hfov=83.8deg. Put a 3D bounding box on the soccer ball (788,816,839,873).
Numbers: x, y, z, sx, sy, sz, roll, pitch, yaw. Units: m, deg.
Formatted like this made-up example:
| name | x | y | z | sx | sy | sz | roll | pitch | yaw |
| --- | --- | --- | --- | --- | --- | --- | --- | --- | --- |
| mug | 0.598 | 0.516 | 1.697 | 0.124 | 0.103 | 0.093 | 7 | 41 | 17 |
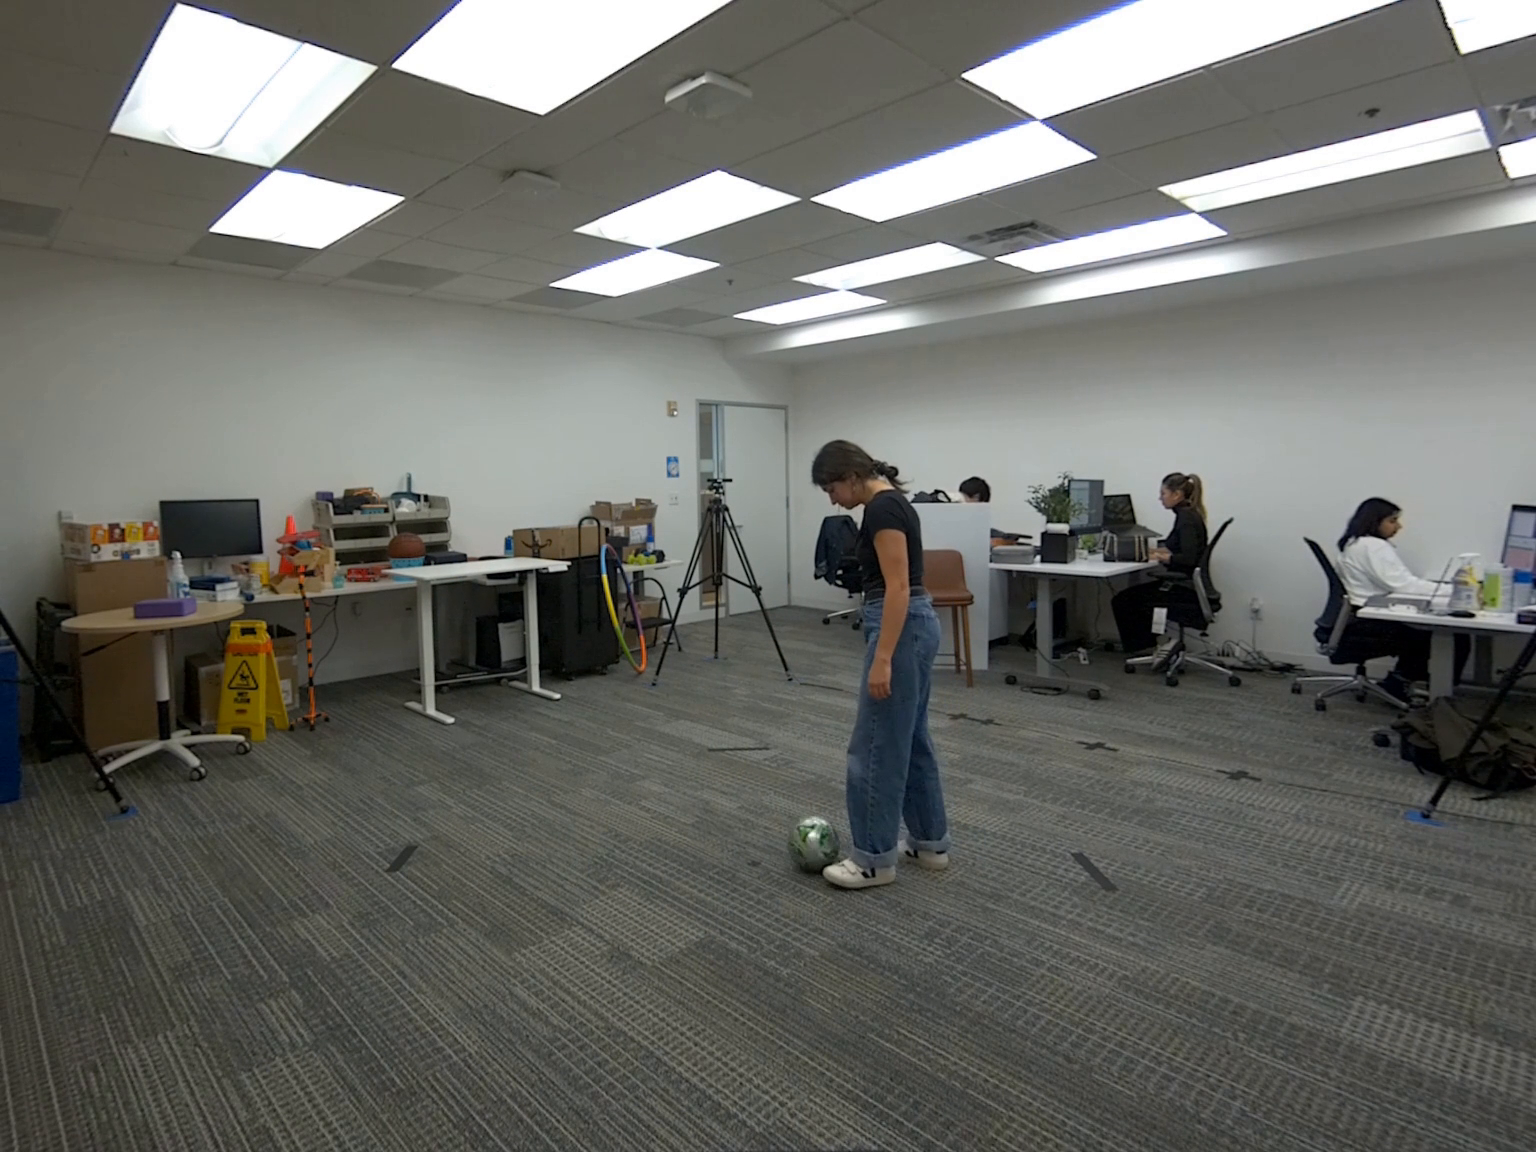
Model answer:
| name | x | y | z | sx | sy | sz | roll | pitch | yaw |
| --- | --- | --- | --- | --- | --- | --- | --- | --- | --- |
| soccer ball | 0.167 | 0.952 | 3.068 | 0.187 | 0.187 | 0.188 | -1 | 5 | -2 |
